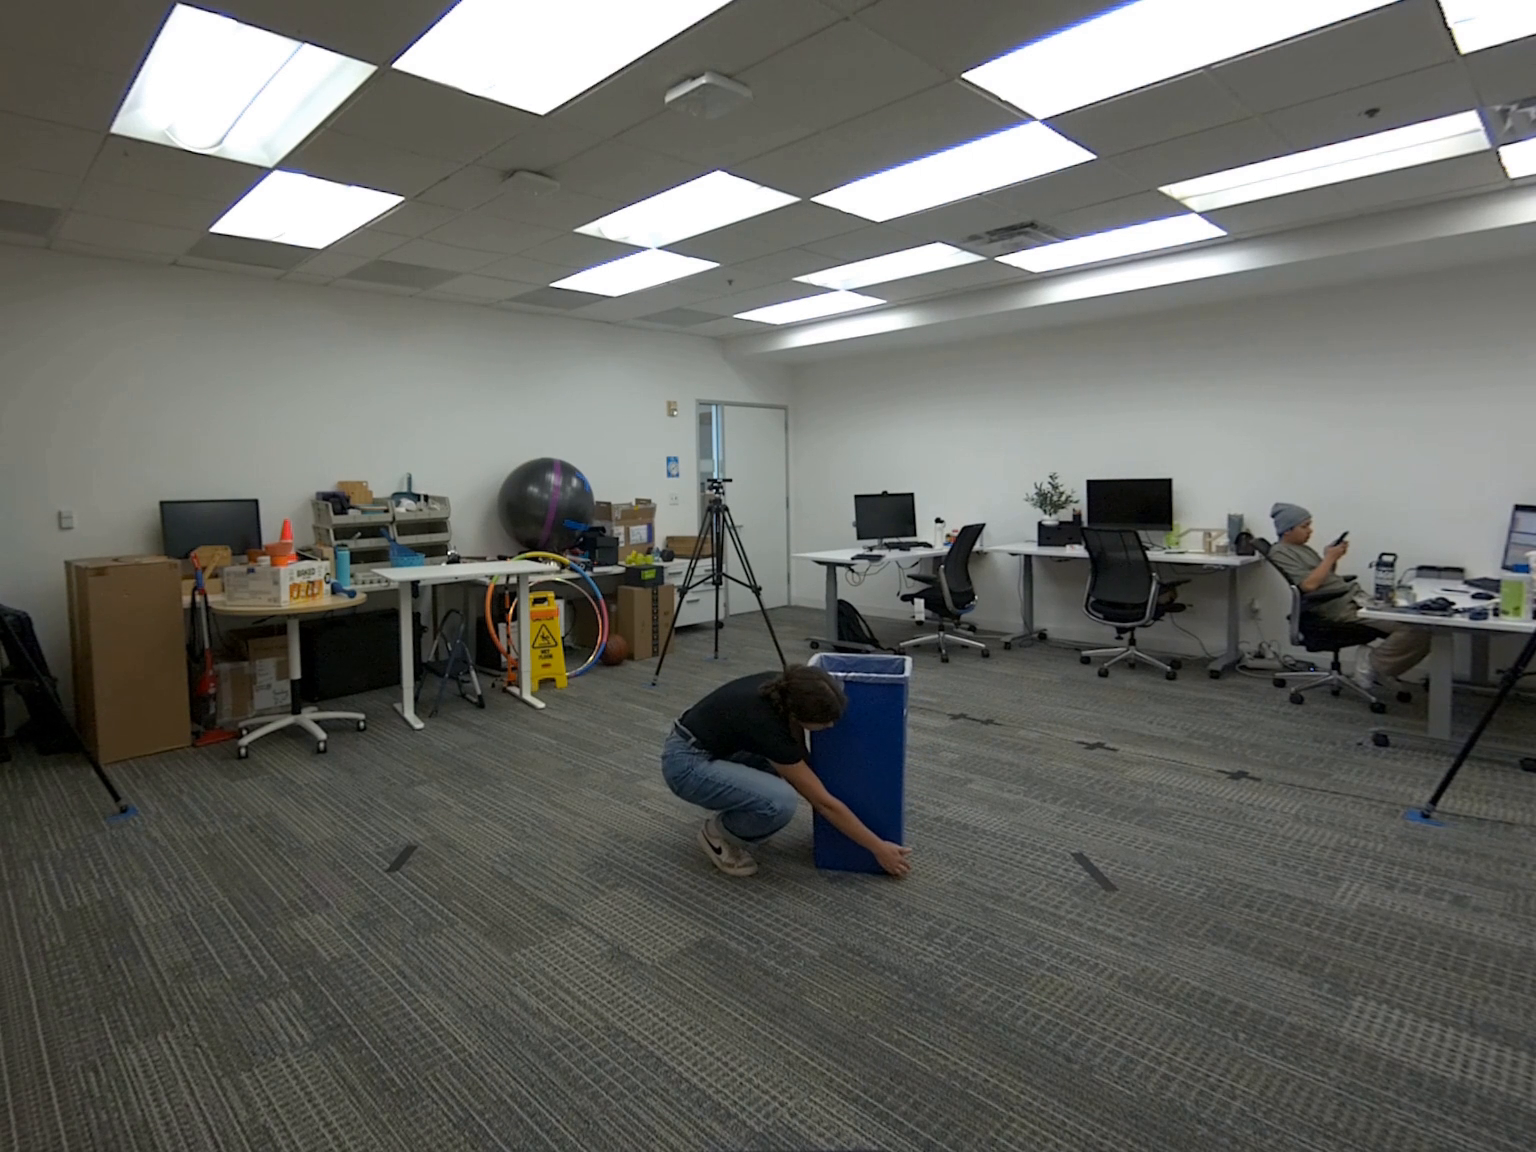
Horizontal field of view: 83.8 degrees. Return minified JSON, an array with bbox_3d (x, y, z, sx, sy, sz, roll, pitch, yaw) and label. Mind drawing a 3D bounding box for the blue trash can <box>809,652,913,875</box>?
[{"bbox_3d":[0.340,0.670,3.156,0.383,0.711,0.370,0,4,14],"label":"blue trash can"}]
